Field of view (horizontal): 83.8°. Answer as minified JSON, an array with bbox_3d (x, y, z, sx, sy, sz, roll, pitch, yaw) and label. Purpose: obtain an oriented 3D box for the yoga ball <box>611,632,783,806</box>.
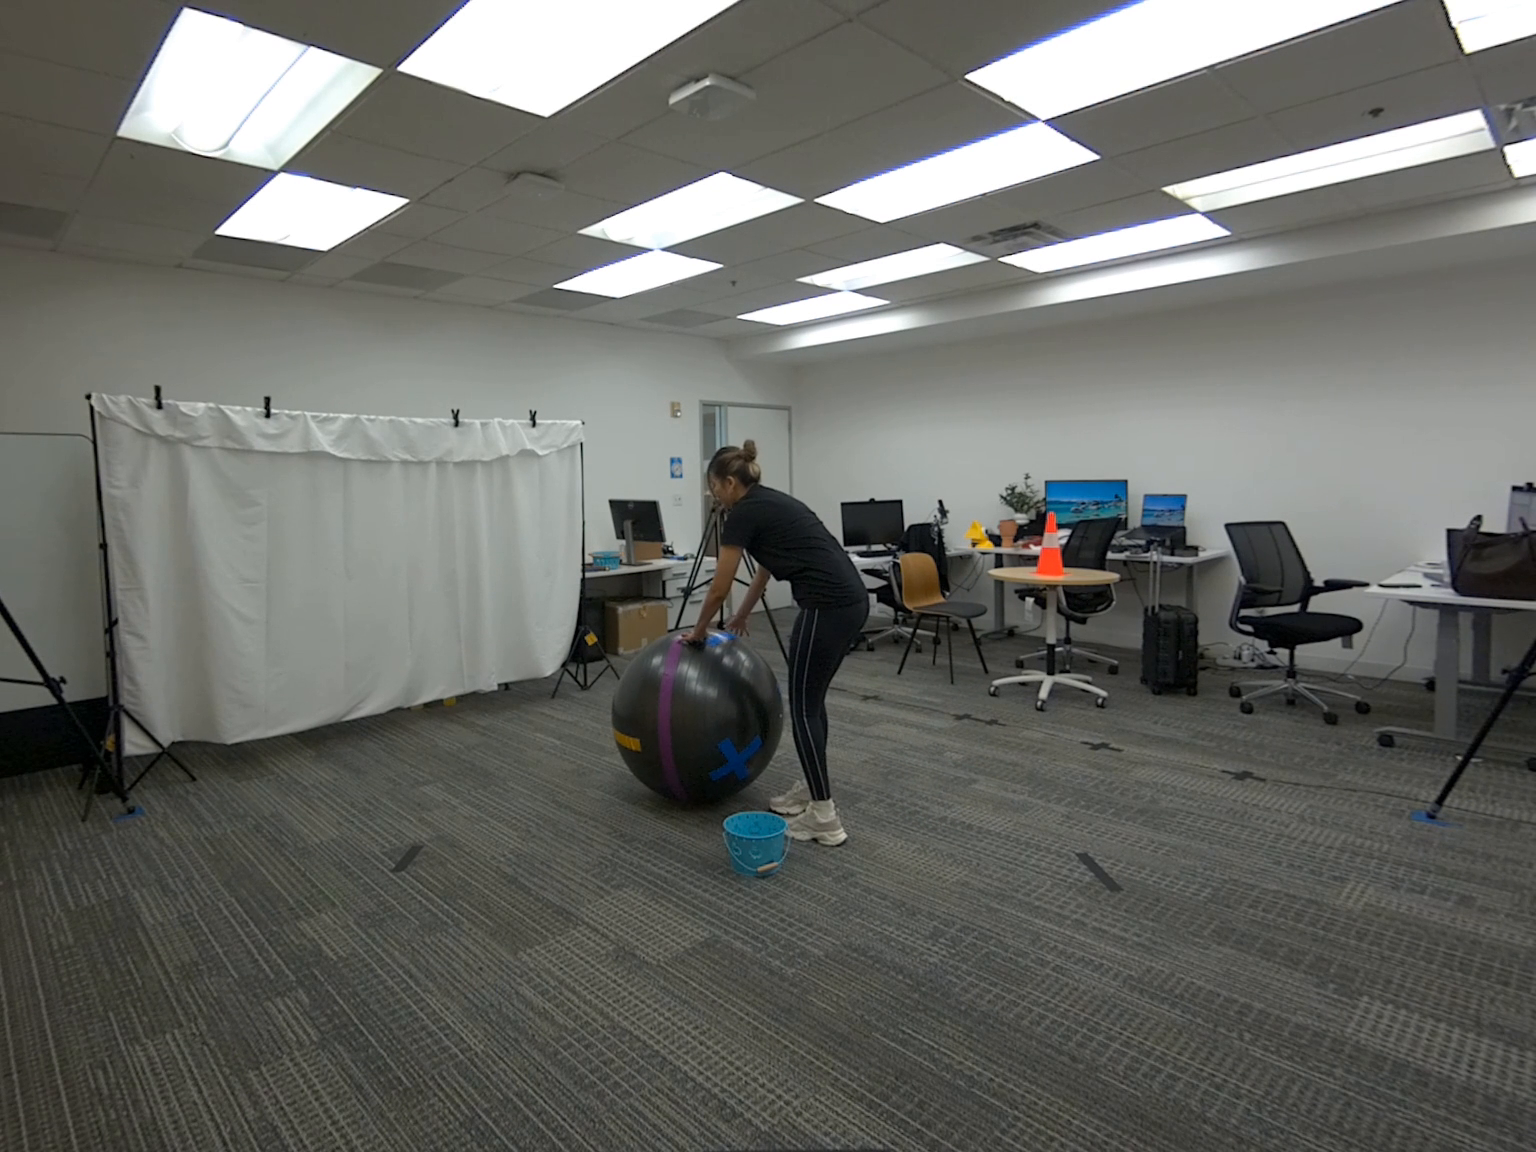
[{"bbox_3d":[-0.319,0.613,3.782,0.757,0.755,0.762,-1,5,-2],"label":"yoga ball"}]
